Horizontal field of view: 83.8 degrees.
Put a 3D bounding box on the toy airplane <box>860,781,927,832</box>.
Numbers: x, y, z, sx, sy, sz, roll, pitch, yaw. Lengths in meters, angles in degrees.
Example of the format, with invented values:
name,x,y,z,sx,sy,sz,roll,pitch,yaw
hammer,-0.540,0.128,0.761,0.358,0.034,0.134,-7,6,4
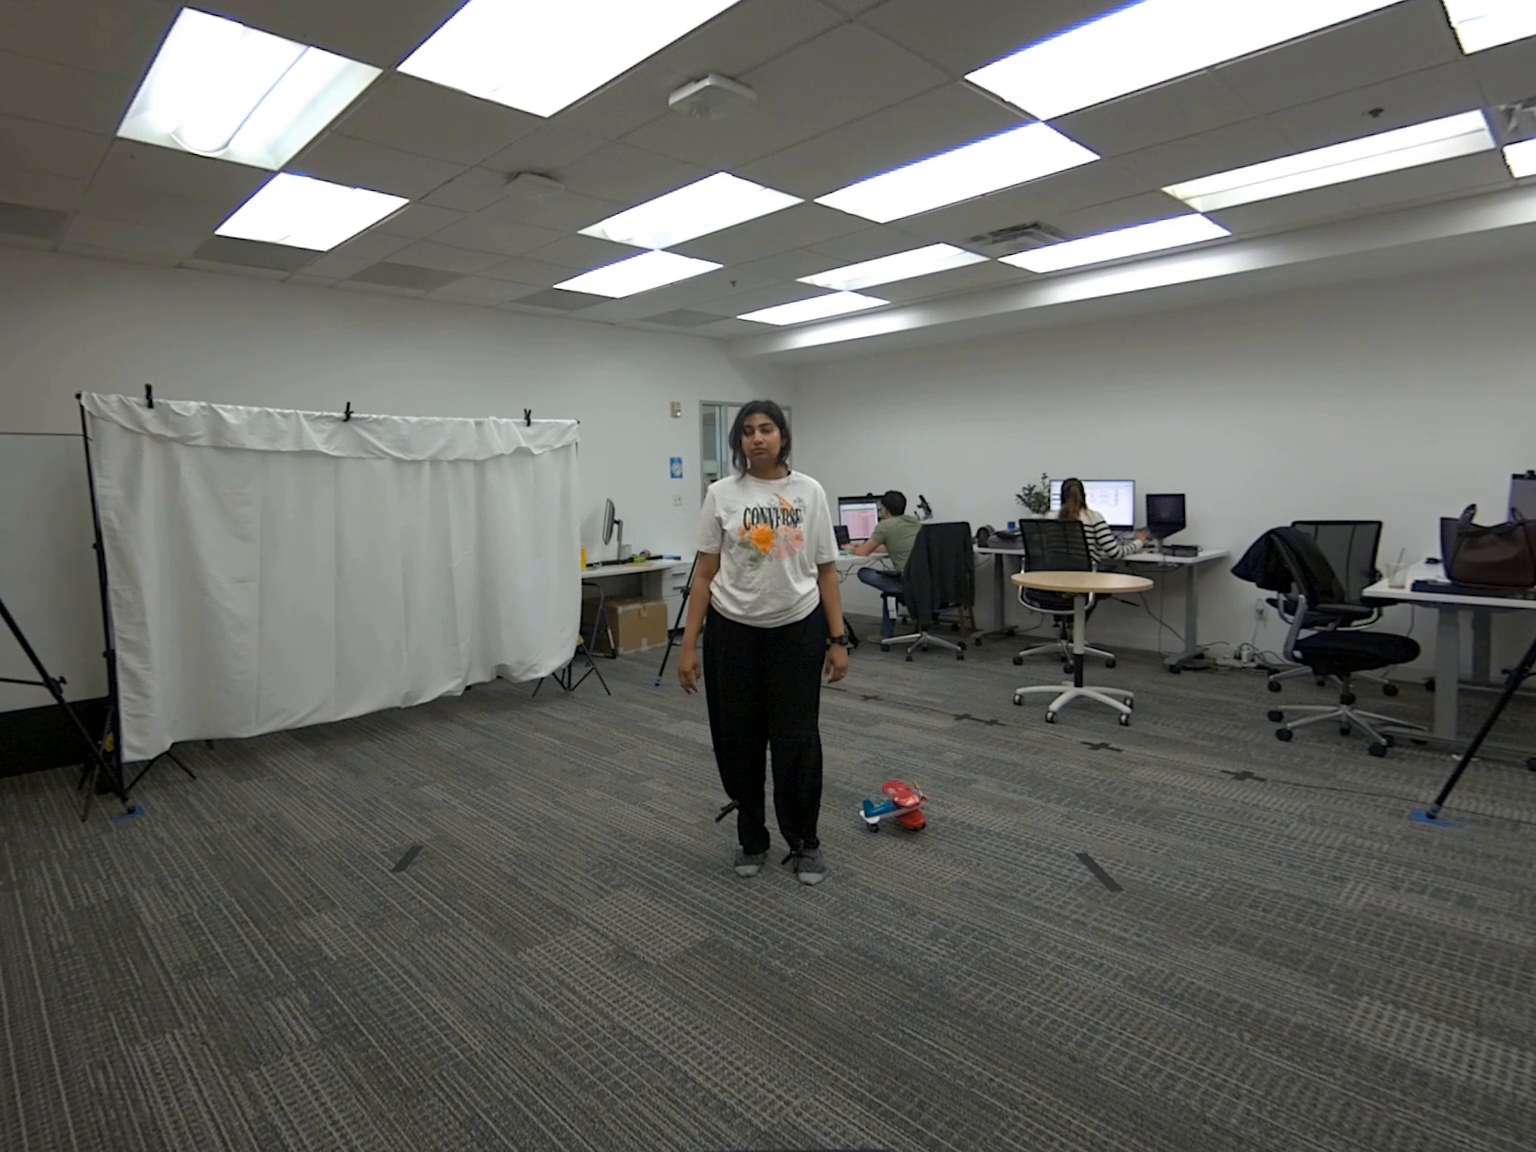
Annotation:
name,x,y,z,sx,sy,sz,roll,pitch,yaw
toy airplane,0.518,0.933,3.389,0.252,0.156,0.259,-5,7,-42
